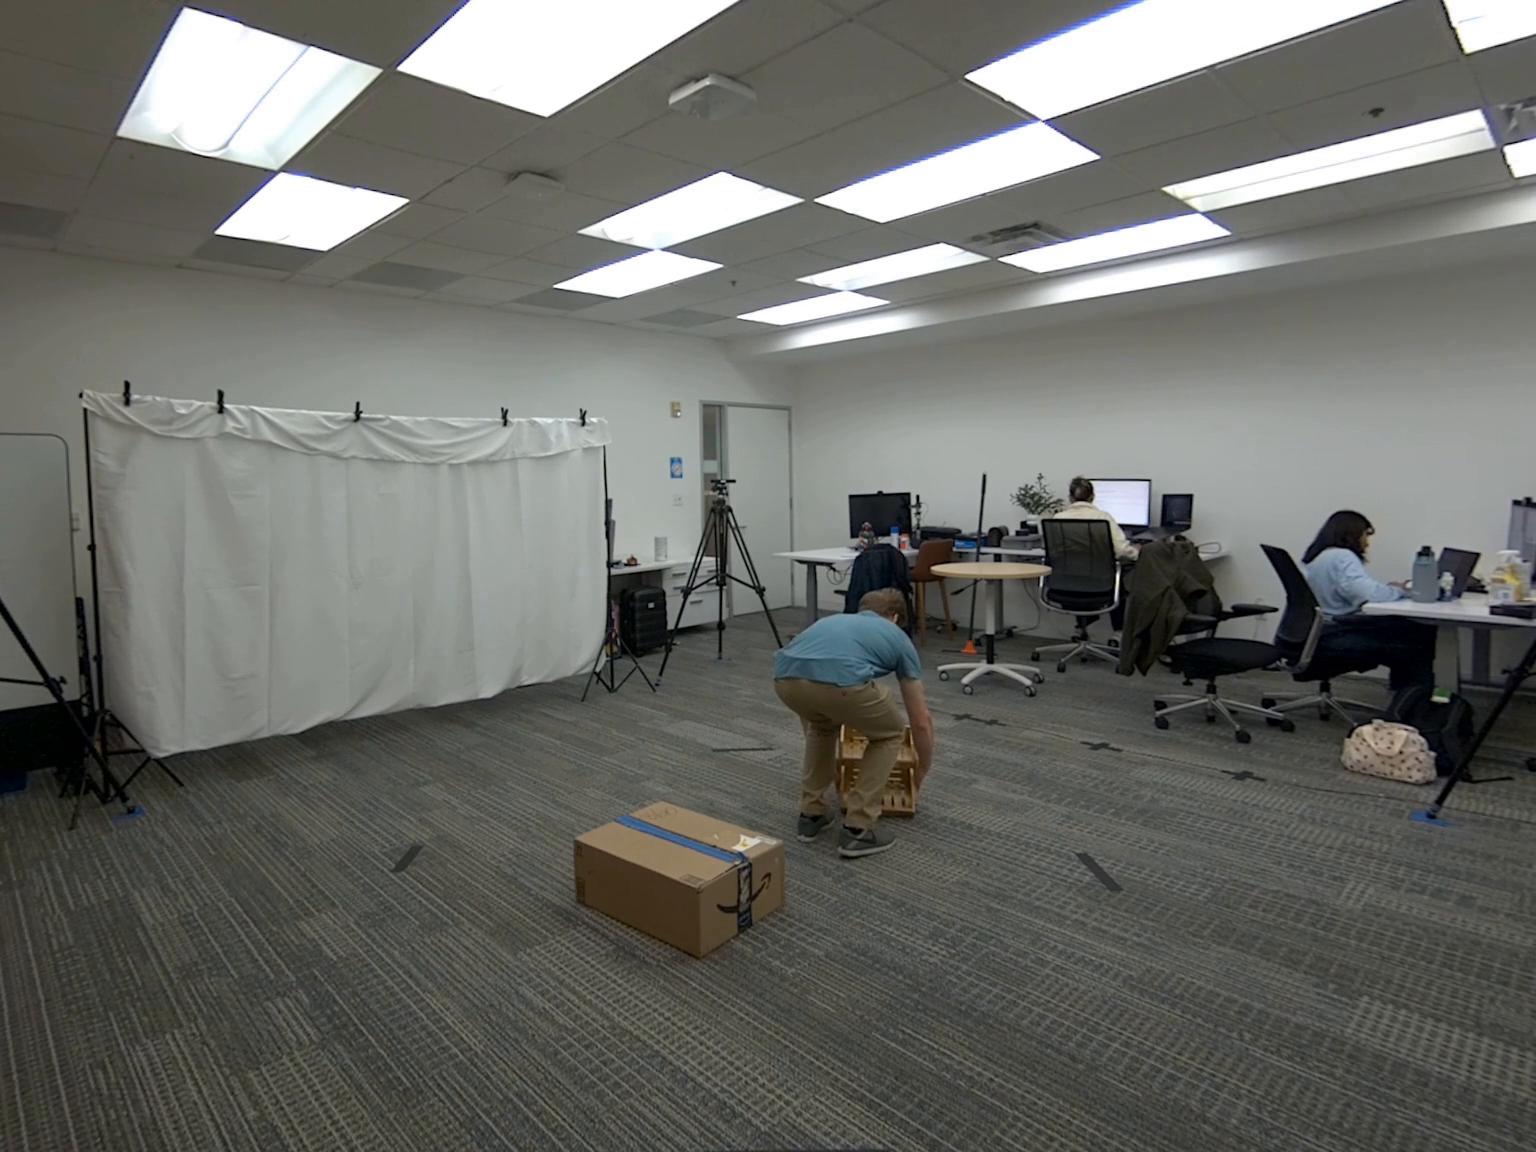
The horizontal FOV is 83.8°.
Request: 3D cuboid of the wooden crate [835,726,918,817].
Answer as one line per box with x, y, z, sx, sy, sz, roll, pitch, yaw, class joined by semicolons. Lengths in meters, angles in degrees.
0.464;0.824;3.613;0.327;0.269;0.305;0;18;7;wooden crate
